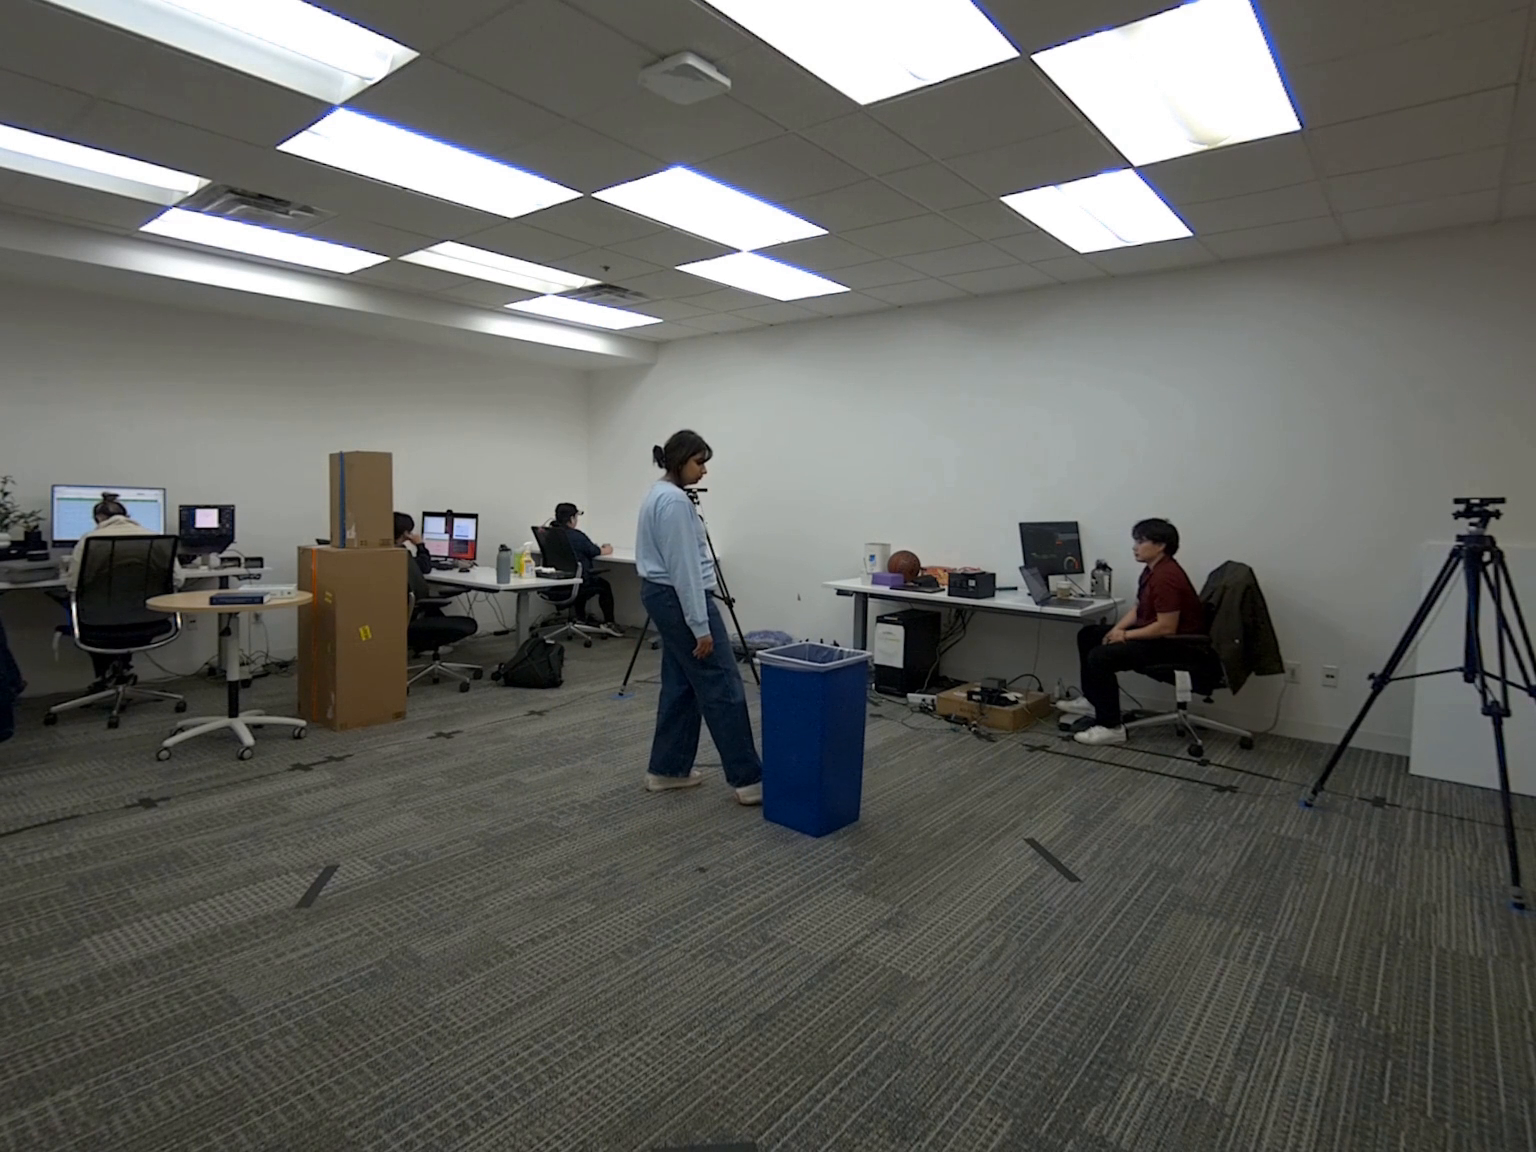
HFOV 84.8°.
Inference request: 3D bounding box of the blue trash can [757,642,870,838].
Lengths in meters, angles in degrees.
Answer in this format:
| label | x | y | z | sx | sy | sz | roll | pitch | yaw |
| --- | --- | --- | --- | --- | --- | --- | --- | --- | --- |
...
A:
| label | x | y | z | sx | sy | sz | roll | pitch | yaw |
| --- | --- | --- | --- | --- | --- | --- | --- | --- | --- |
| blue trash can | 0.175 | 0.673 | 3.601 | 0.387 | 0.711 | 0.367 | 4 | 5 | 41 |
